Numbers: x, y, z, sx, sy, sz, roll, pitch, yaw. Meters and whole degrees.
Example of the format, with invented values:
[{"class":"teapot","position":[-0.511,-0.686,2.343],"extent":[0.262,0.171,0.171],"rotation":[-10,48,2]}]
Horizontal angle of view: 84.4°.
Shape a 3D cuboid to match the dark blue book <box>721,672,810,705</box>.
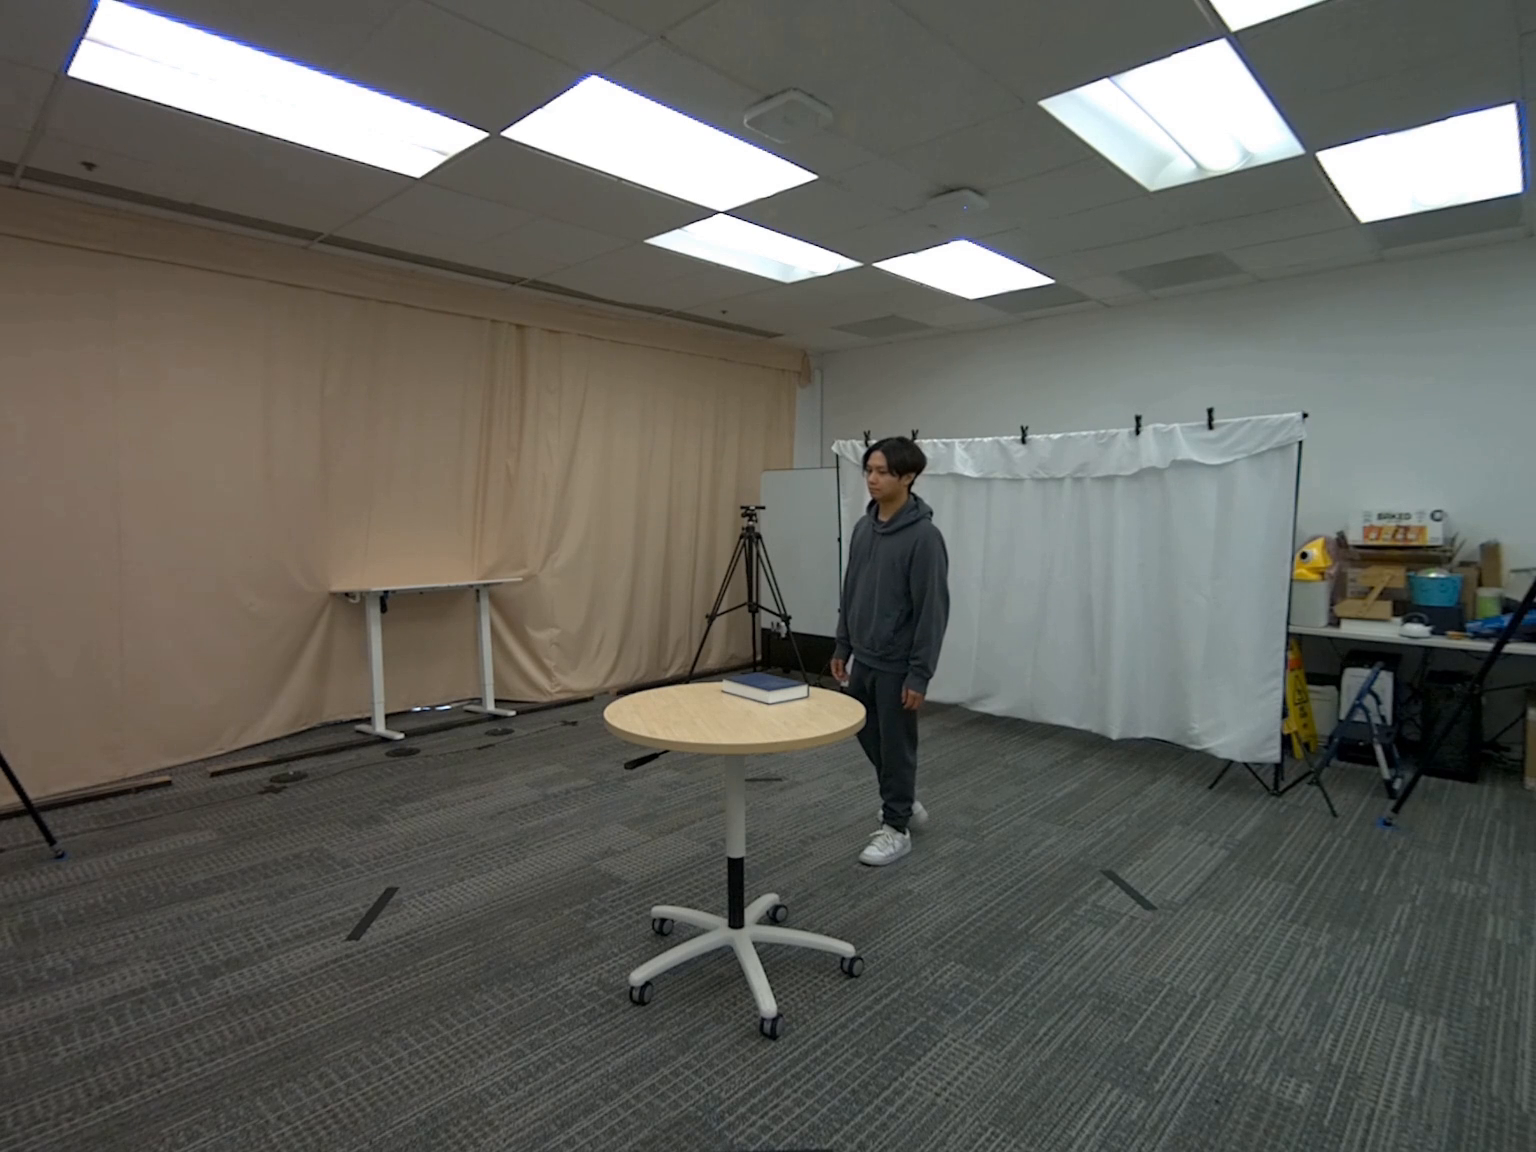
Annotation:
[{"class":"dark blue book","position":[-0.010,0.359,2.655],"extent":[0.158,0.045,0.253],"rotation":[-4,6,-38]}]
